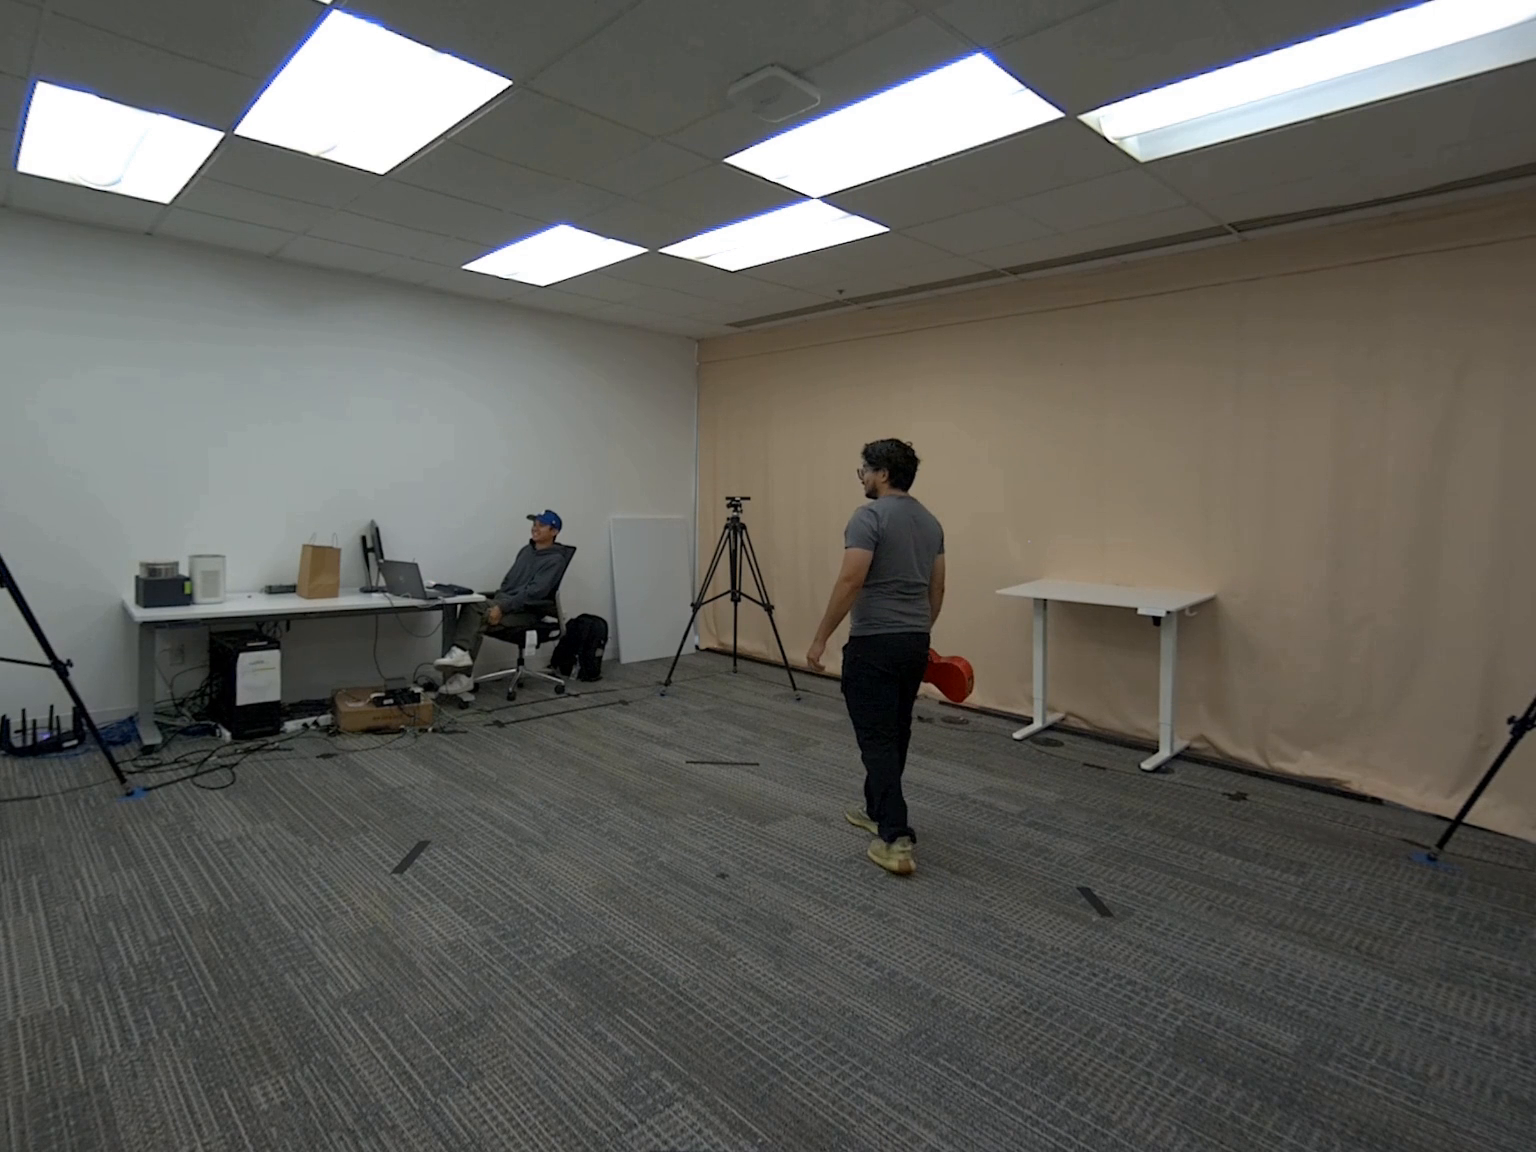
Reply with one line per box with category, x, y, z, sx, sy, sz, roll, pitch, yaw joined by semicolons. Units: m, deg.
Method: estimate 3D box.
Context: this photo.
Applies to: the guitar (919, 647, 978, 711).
guitar;0.642;0.386;3.575;0.070;0.189;0.512;-28;29;-35
